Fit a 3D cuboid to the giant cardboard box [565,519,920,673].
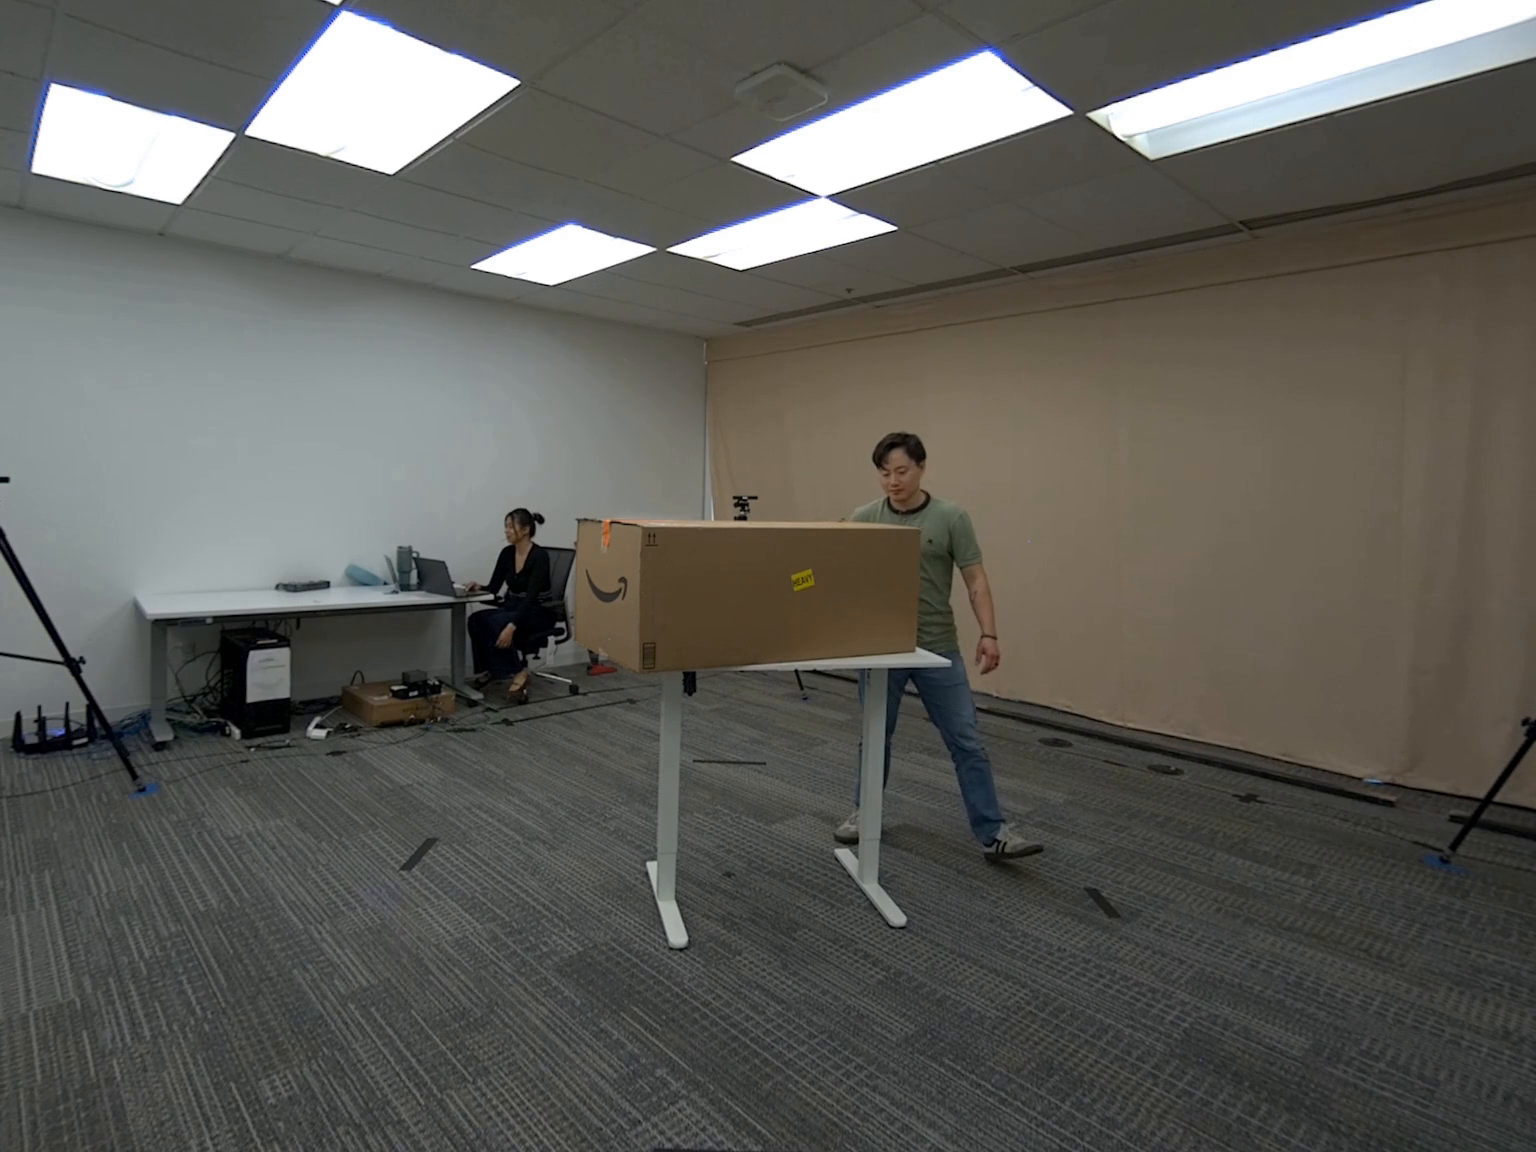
[{"bbox_3d":[-0.078,0.030,2.860,1.005,0.425,0.591,-1,5,-30],"label":"giant cardboard box"}]
